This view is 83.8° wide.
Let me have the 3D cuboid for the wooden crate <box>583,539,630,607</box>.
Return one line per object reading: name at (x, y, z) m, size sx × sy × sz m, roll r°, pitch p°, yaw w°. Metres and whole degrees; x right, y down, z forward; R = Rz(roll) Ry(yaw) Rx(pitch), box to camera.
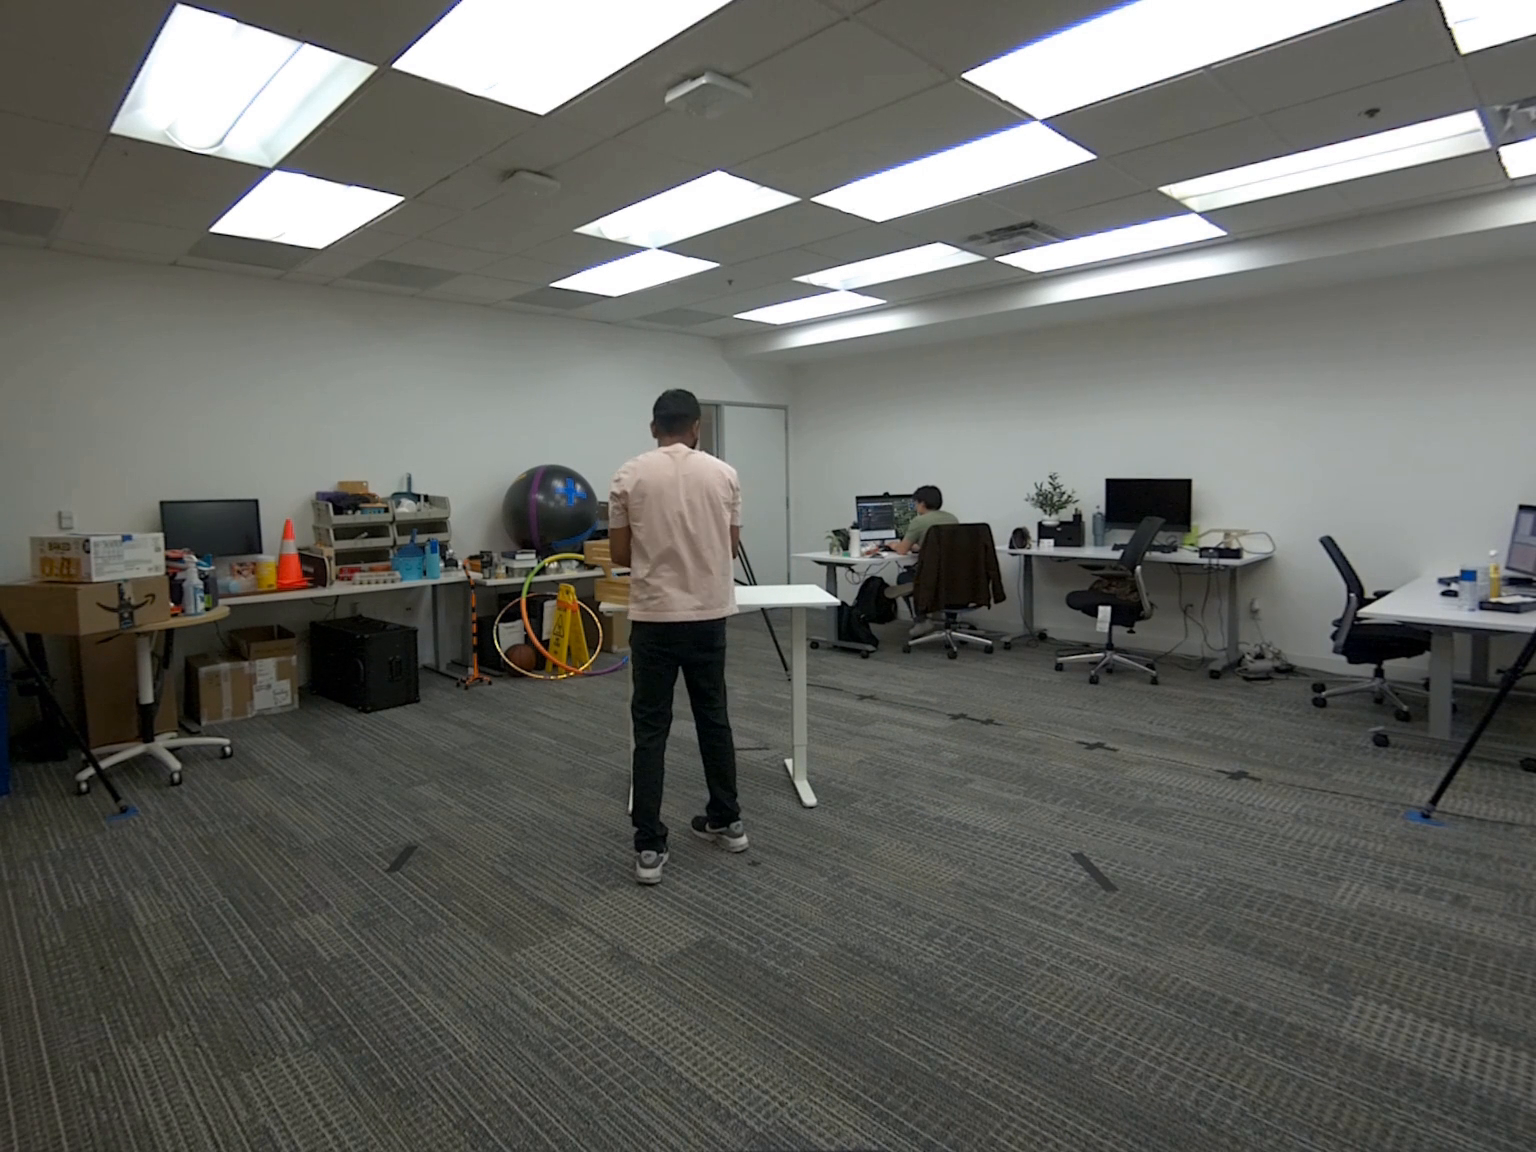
wooden crate at (-0.568, -0.025, 3.654) m, size 0.334 × 0.272 × 0.294 m, roll 4°, pitch 8°, yaw 41°
